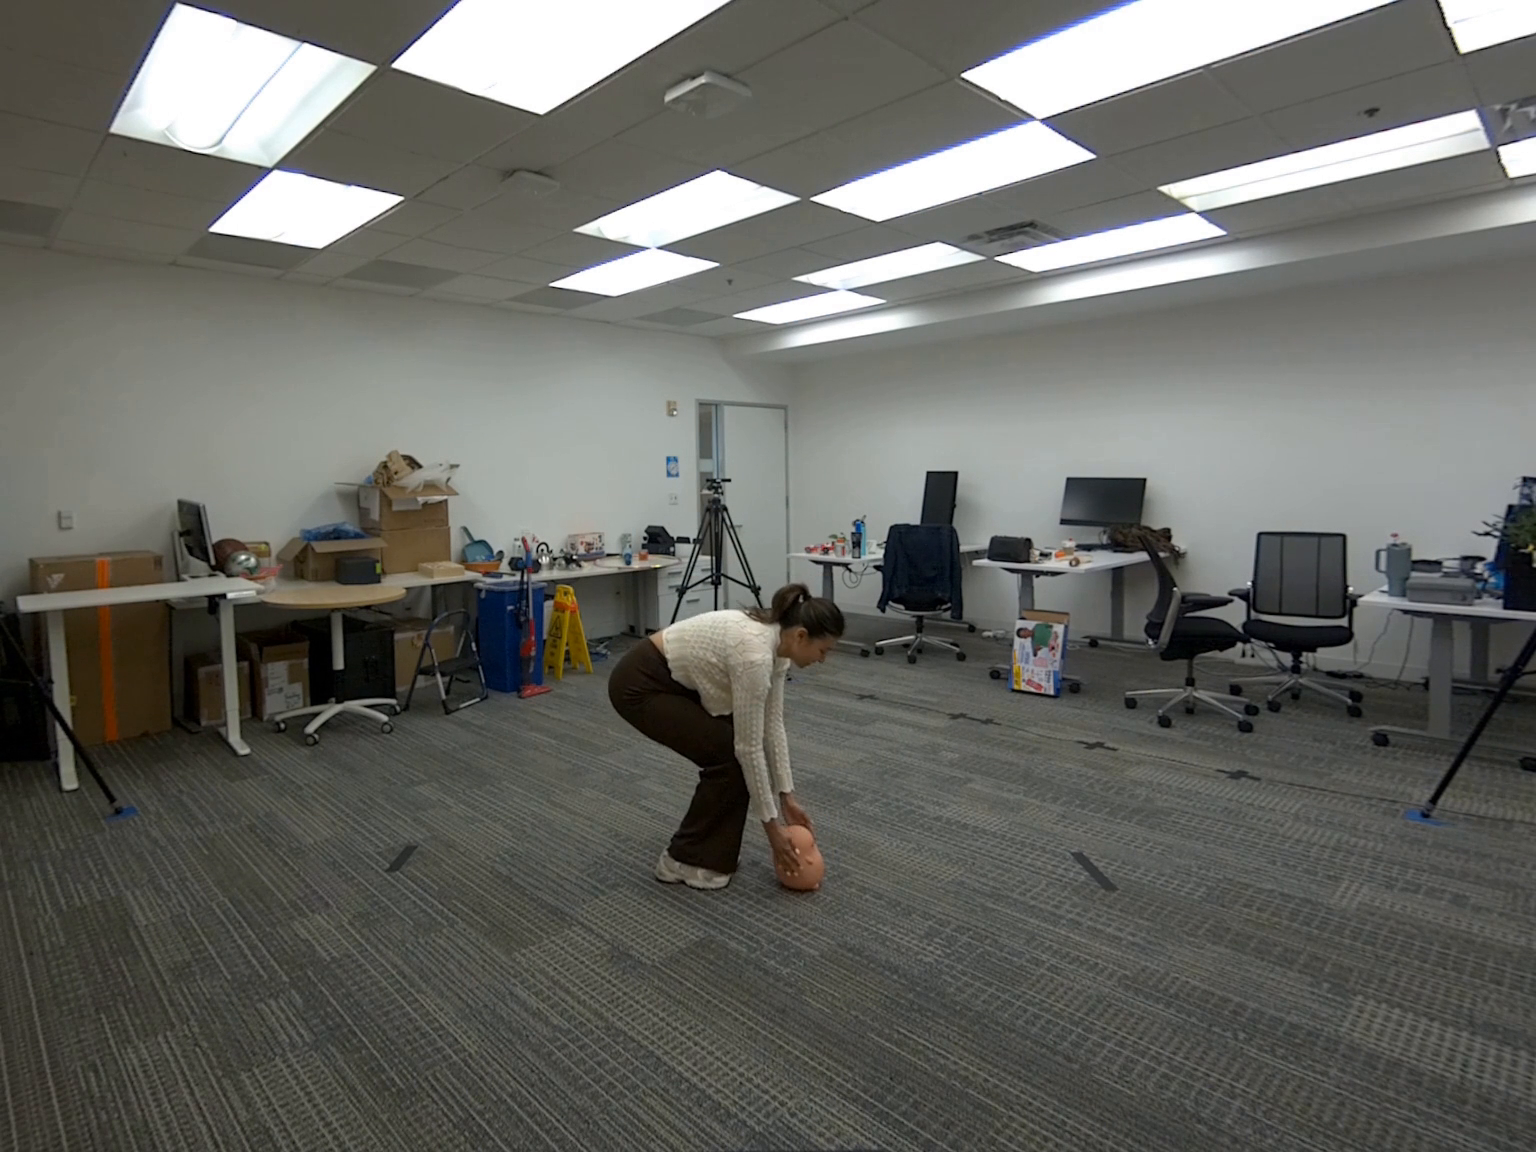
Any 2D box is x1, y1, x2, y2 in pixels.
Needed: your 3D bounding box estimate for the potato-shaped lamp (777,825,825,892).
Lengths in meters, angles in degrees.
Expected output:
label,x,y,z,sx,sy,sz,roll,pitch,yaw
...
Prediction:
label,x,y,z,sx,sy,sz,roll,pitch,yaw
potato-shaped lamp,0.104,0.952,2.934,0.173,0.197,0.163,-2,4,13
